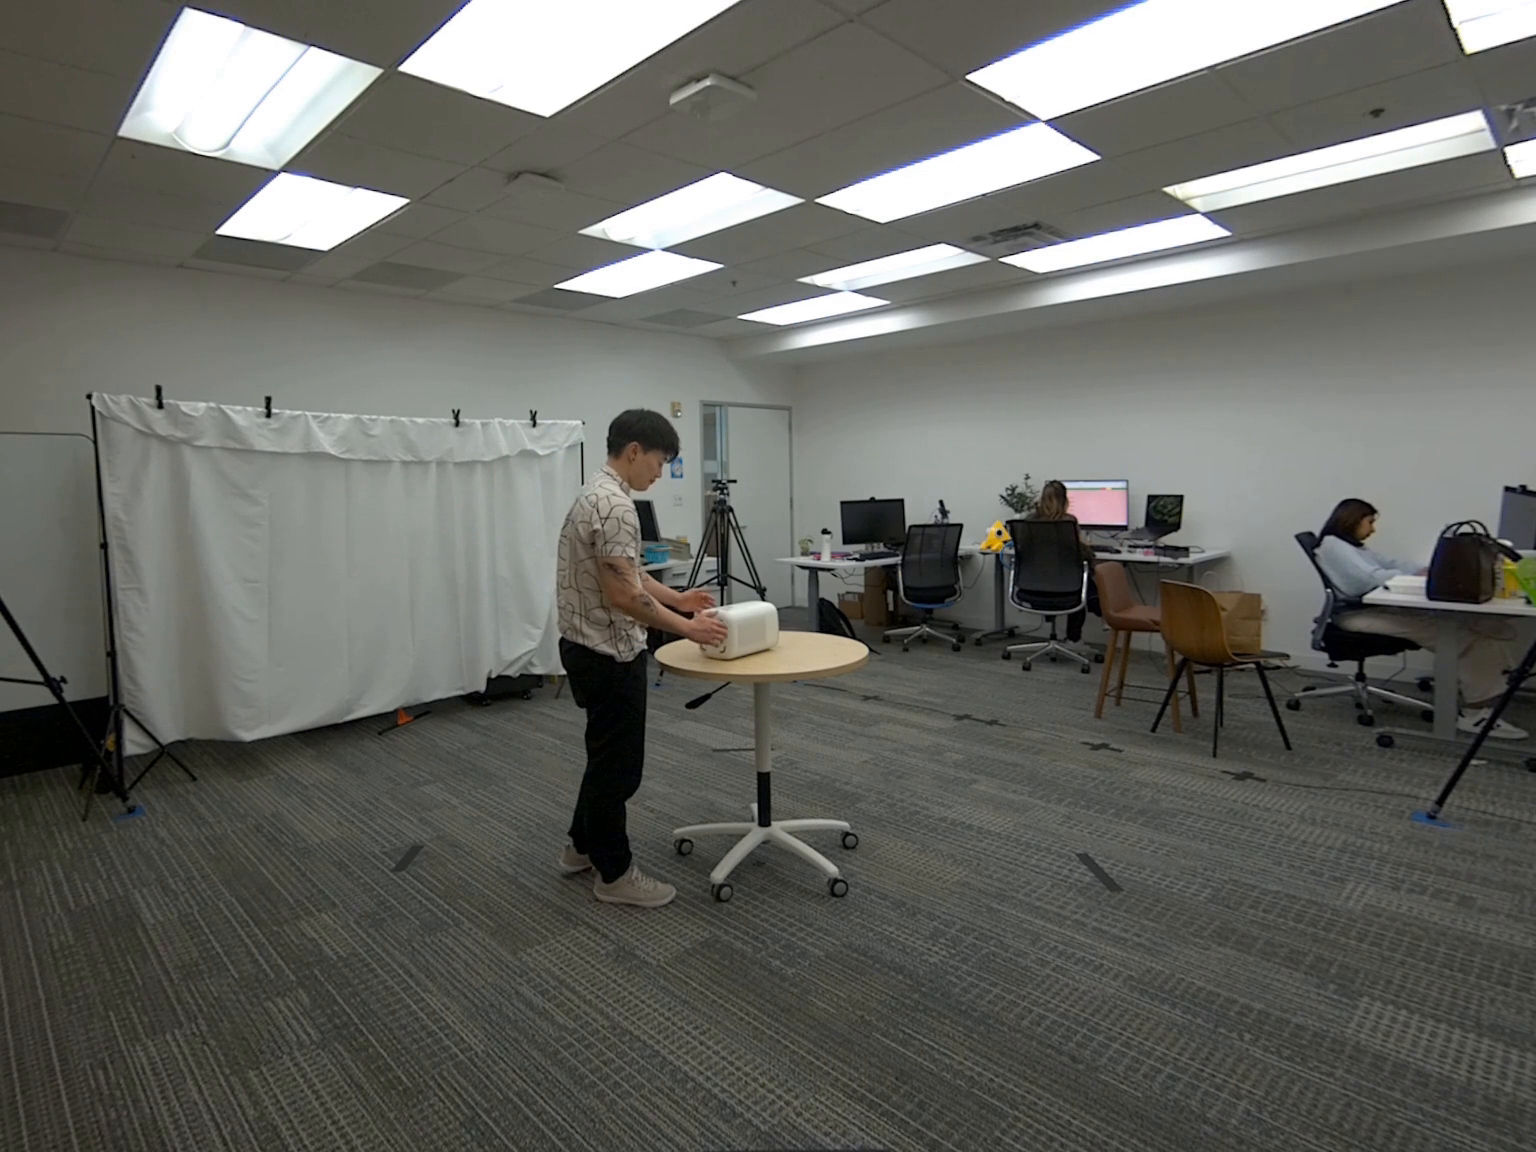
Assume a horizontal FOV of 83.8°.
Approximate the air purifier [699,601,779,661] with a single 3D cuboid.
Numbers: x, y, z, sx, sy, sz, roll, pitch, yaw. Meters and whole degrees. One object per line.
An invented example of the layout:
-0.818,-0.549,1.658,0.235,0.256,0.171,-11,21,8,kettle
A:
-0.106,0.187,3.018,0.176,0.171,0.259,1,7,38,air purifier
